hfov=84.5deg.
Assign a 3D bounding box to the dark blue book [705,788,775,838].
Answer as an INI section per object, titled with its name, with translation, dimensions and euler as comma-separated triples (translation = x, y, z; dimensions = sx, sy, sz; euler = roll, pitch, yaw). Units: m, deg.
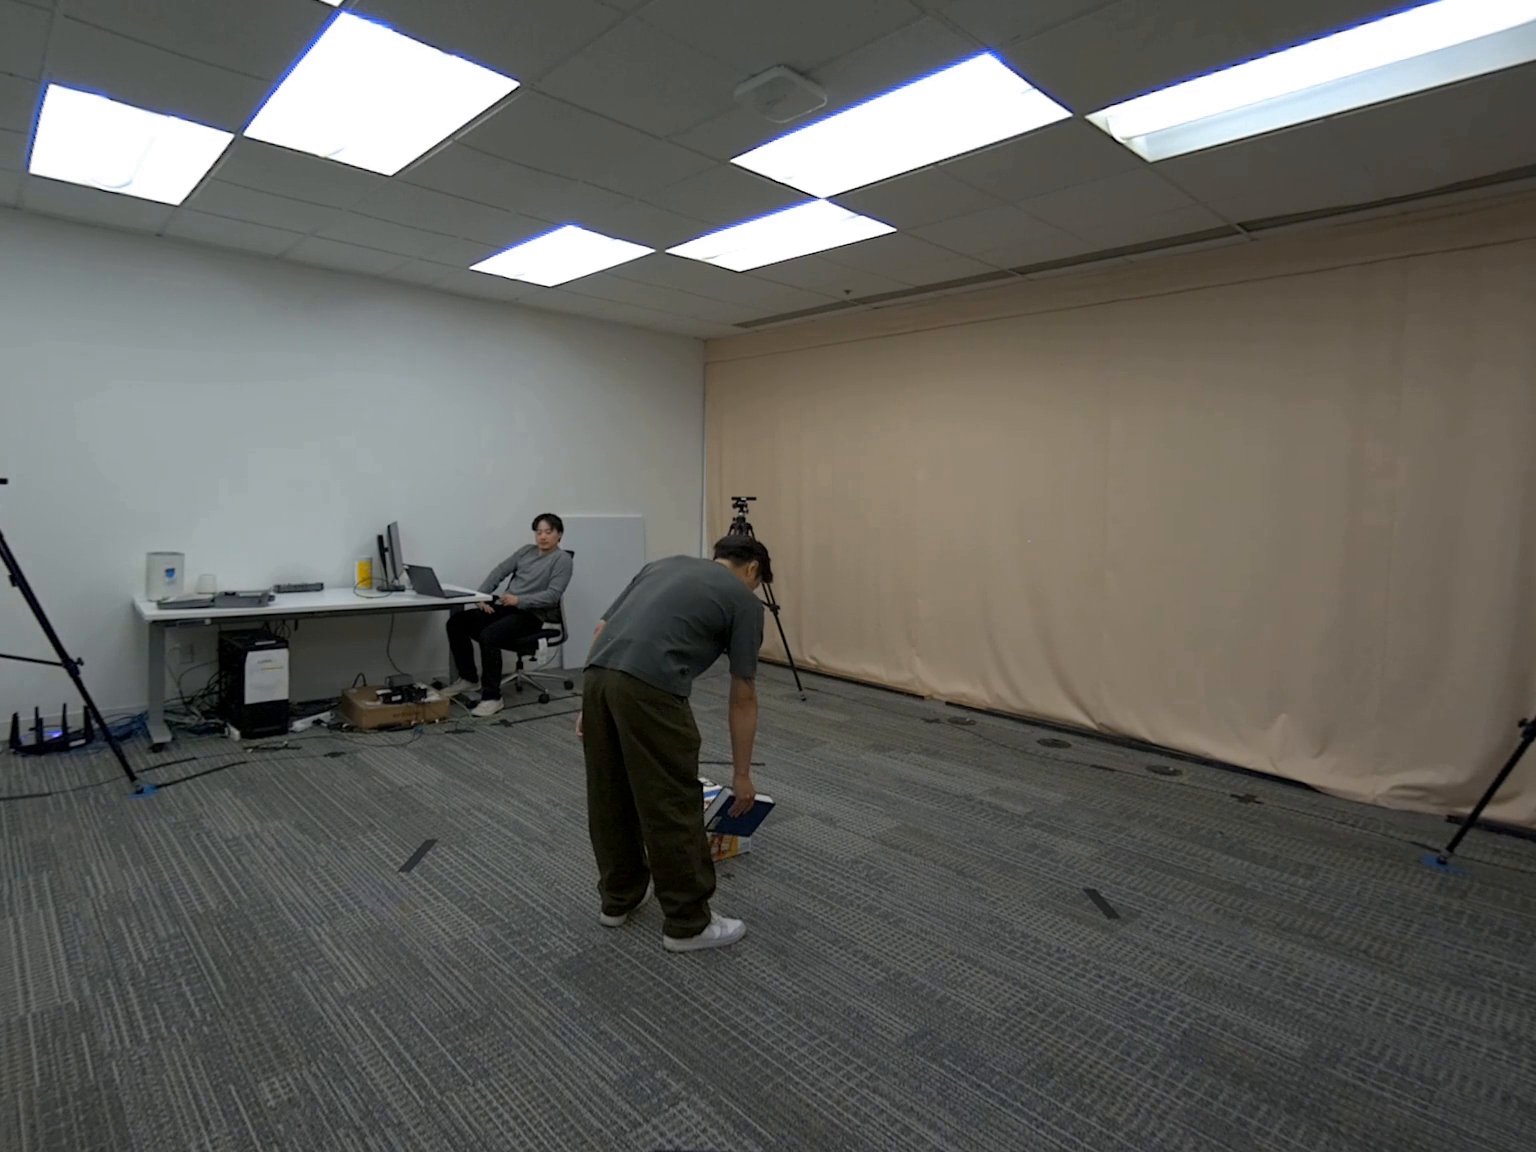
[dark blue book]
translation = -0.105, 0.794, 2.814
dimensions = 0.237, 0.163, 0.046
euler = 24, 14, -44
